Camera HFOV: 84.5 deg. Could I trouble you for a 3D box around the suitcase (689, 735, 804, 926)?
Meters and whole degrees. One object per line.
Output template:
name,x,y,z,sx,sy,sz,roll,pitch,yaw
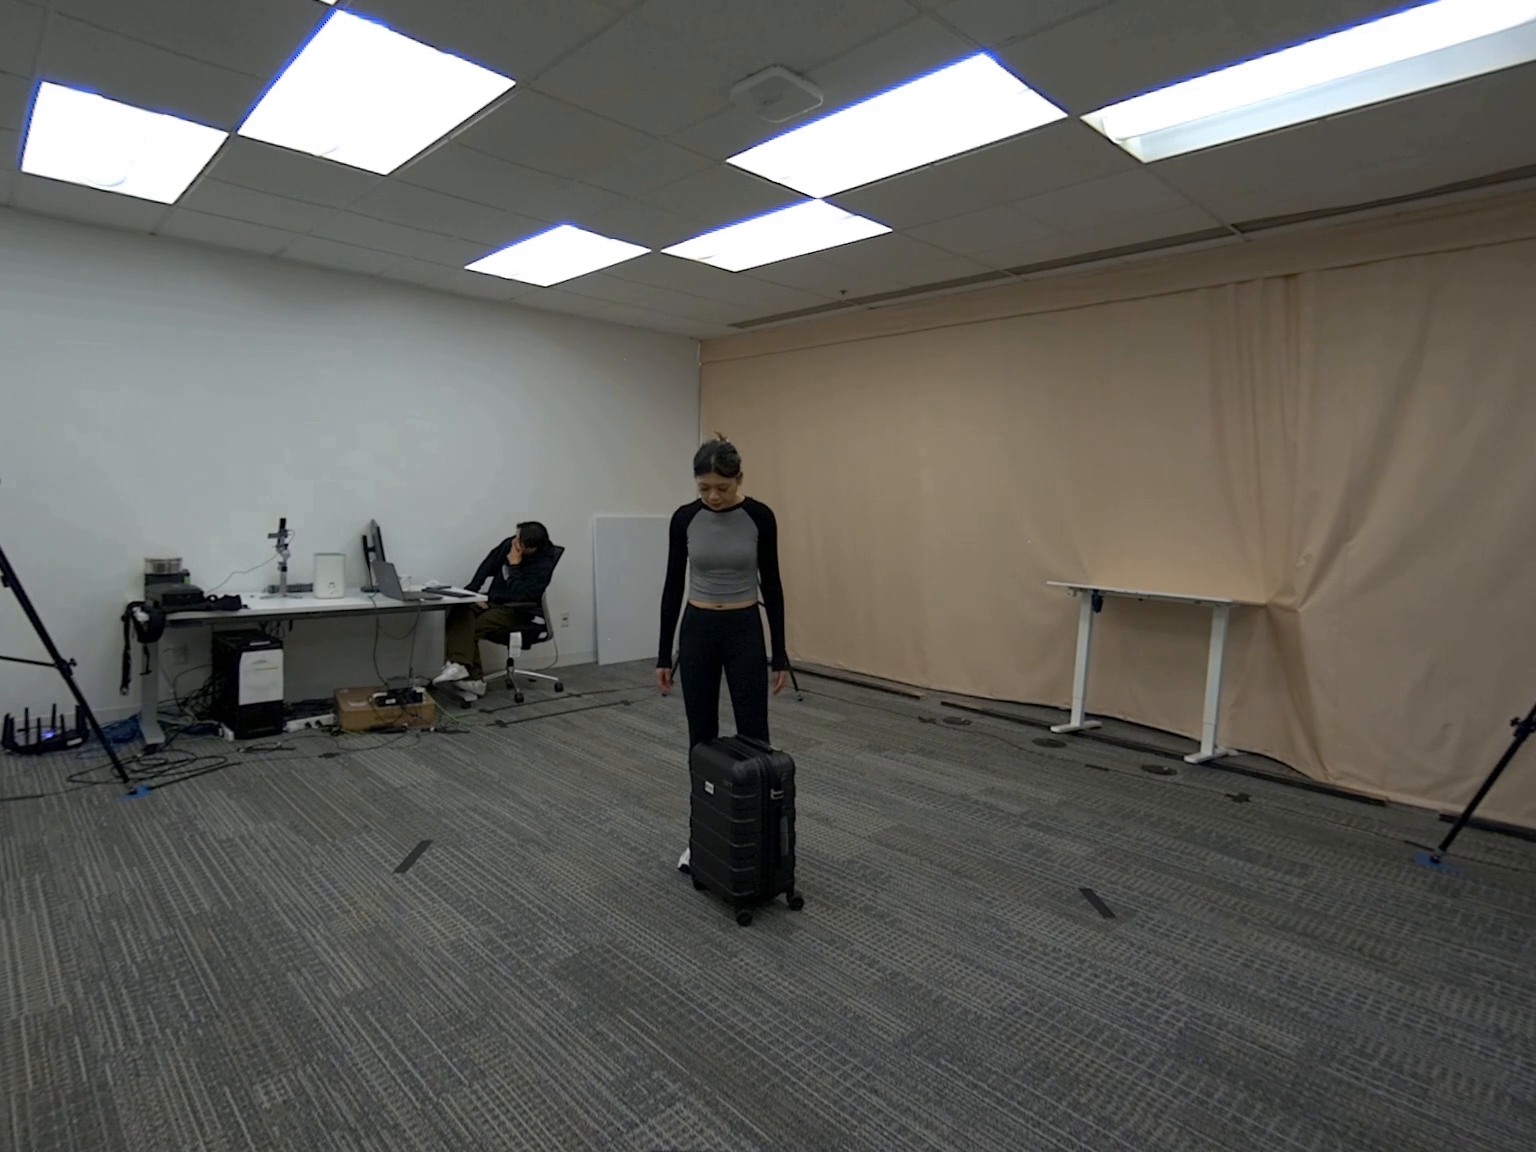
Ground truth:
suitcase,-0.091,0.849,2.914,0.243,0.548,0.384,-2,5,-32
